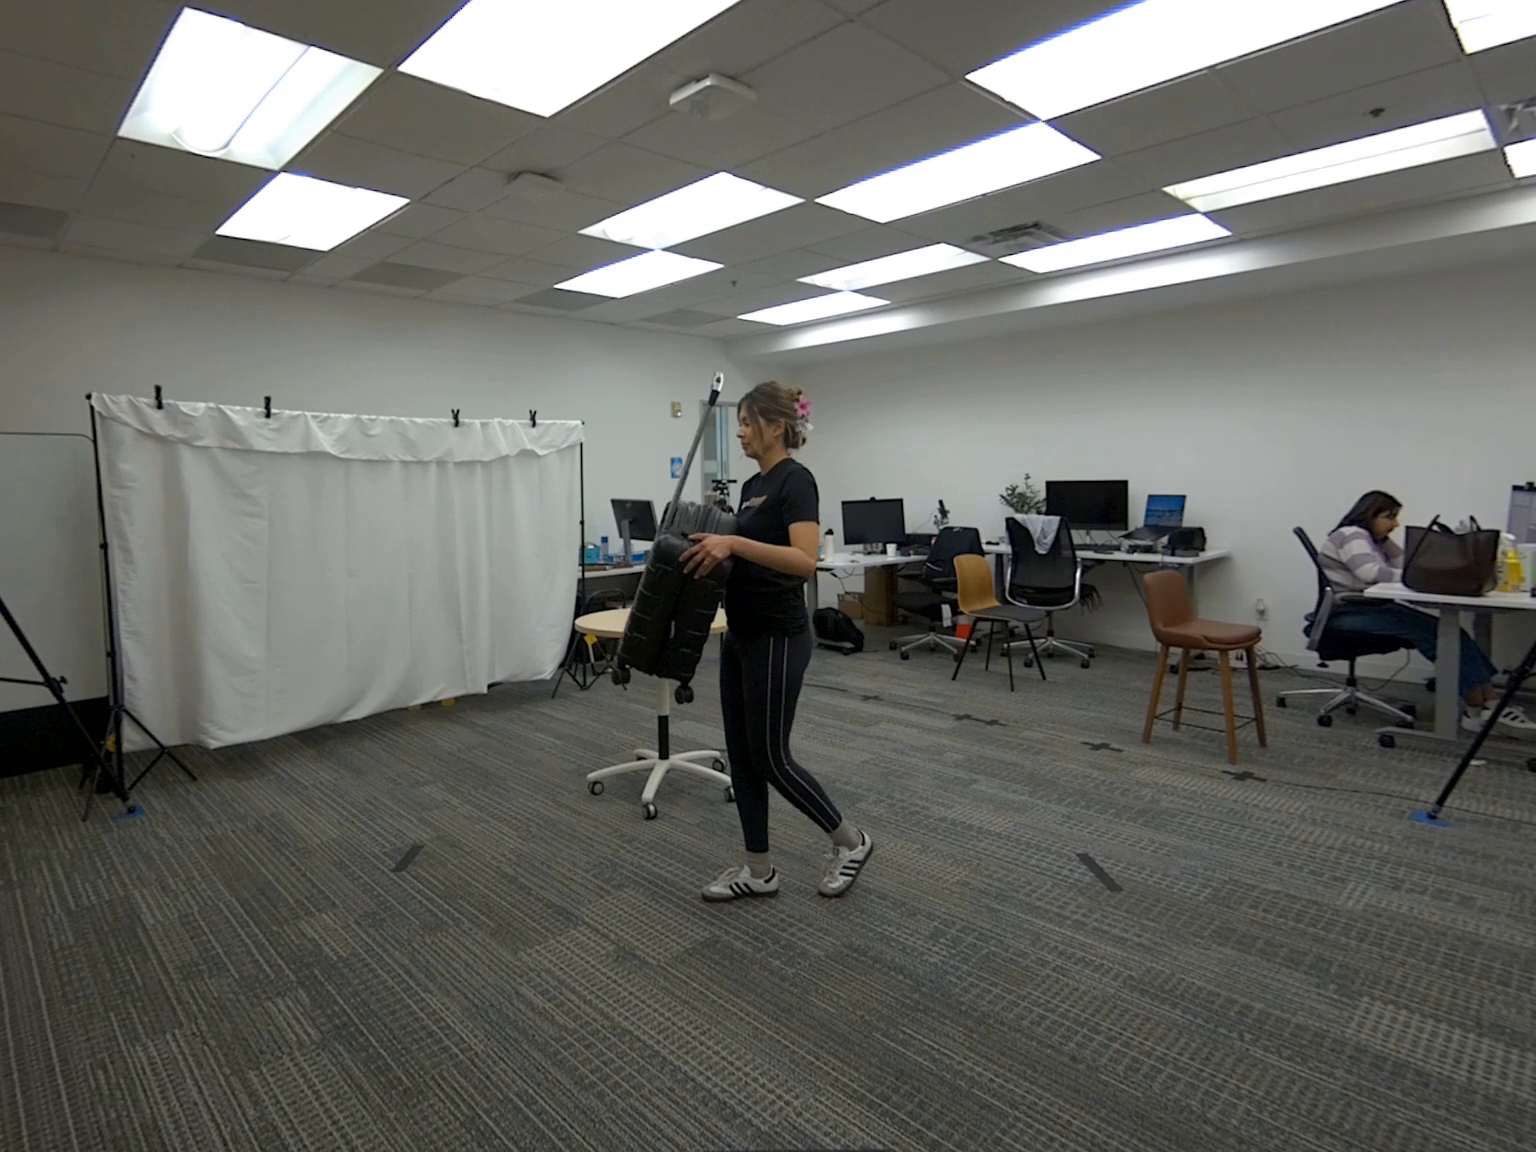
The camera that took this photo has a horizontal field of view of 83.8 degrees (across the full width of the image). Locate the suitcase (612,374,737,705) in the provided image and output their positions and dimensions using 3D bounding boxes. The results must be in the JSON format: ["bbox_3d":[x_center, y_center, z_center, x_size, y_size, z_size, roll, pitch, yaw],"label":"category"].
[{"bbox_3d":[-0.203,-0.116,2.610,0.255,0.967,0.392,18,28,-8],"label":"suitcase"}]
